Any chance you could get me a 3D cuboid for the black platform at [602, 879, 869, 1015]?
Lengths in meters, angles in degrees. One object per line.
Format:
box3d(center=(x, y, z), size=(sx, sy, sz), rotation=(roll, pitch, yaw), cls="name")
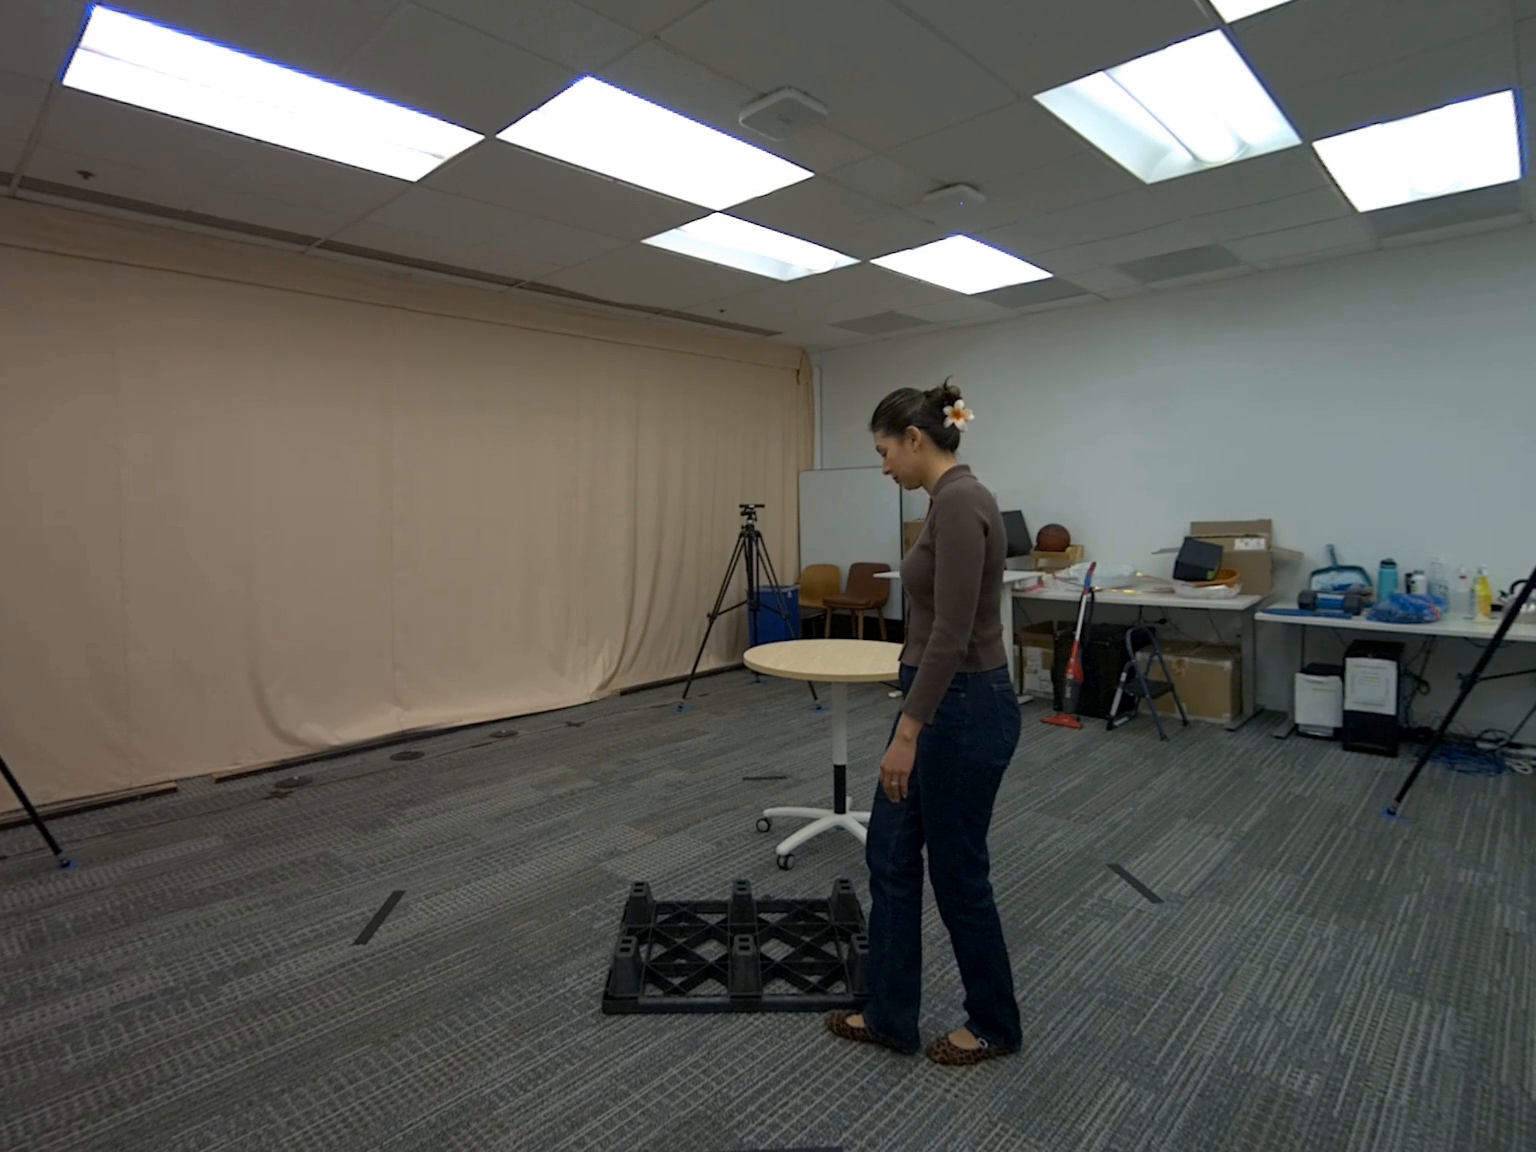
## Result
box3d(center=(-0.079, 1.108, 2.596), size=(0.805, 0.143, 0.607), rotation=(-1, 4, -1), cls="black platform")
